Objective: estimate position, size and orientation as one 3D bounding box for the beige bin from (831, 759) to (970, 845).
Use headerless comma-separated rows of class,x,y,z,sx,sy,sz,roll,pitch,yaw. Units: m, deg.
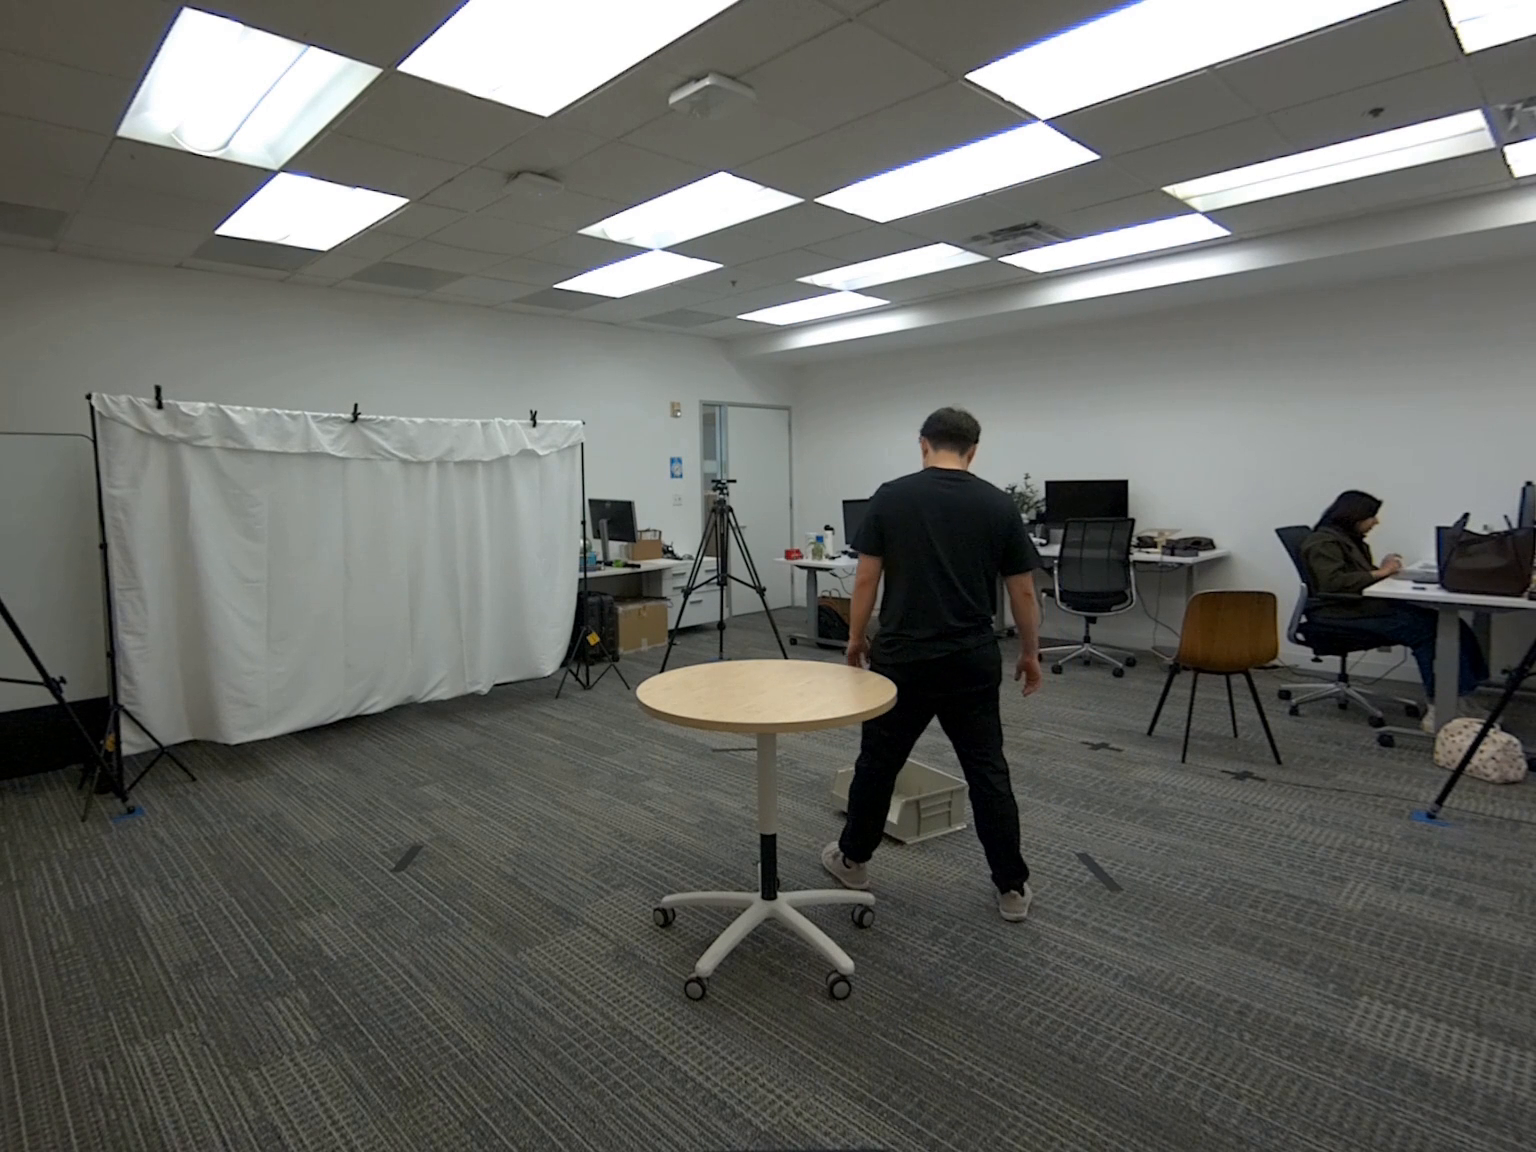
beige bin,0.533,0.907,3.484,0.368,0.188,0.434,-4,6,-31
